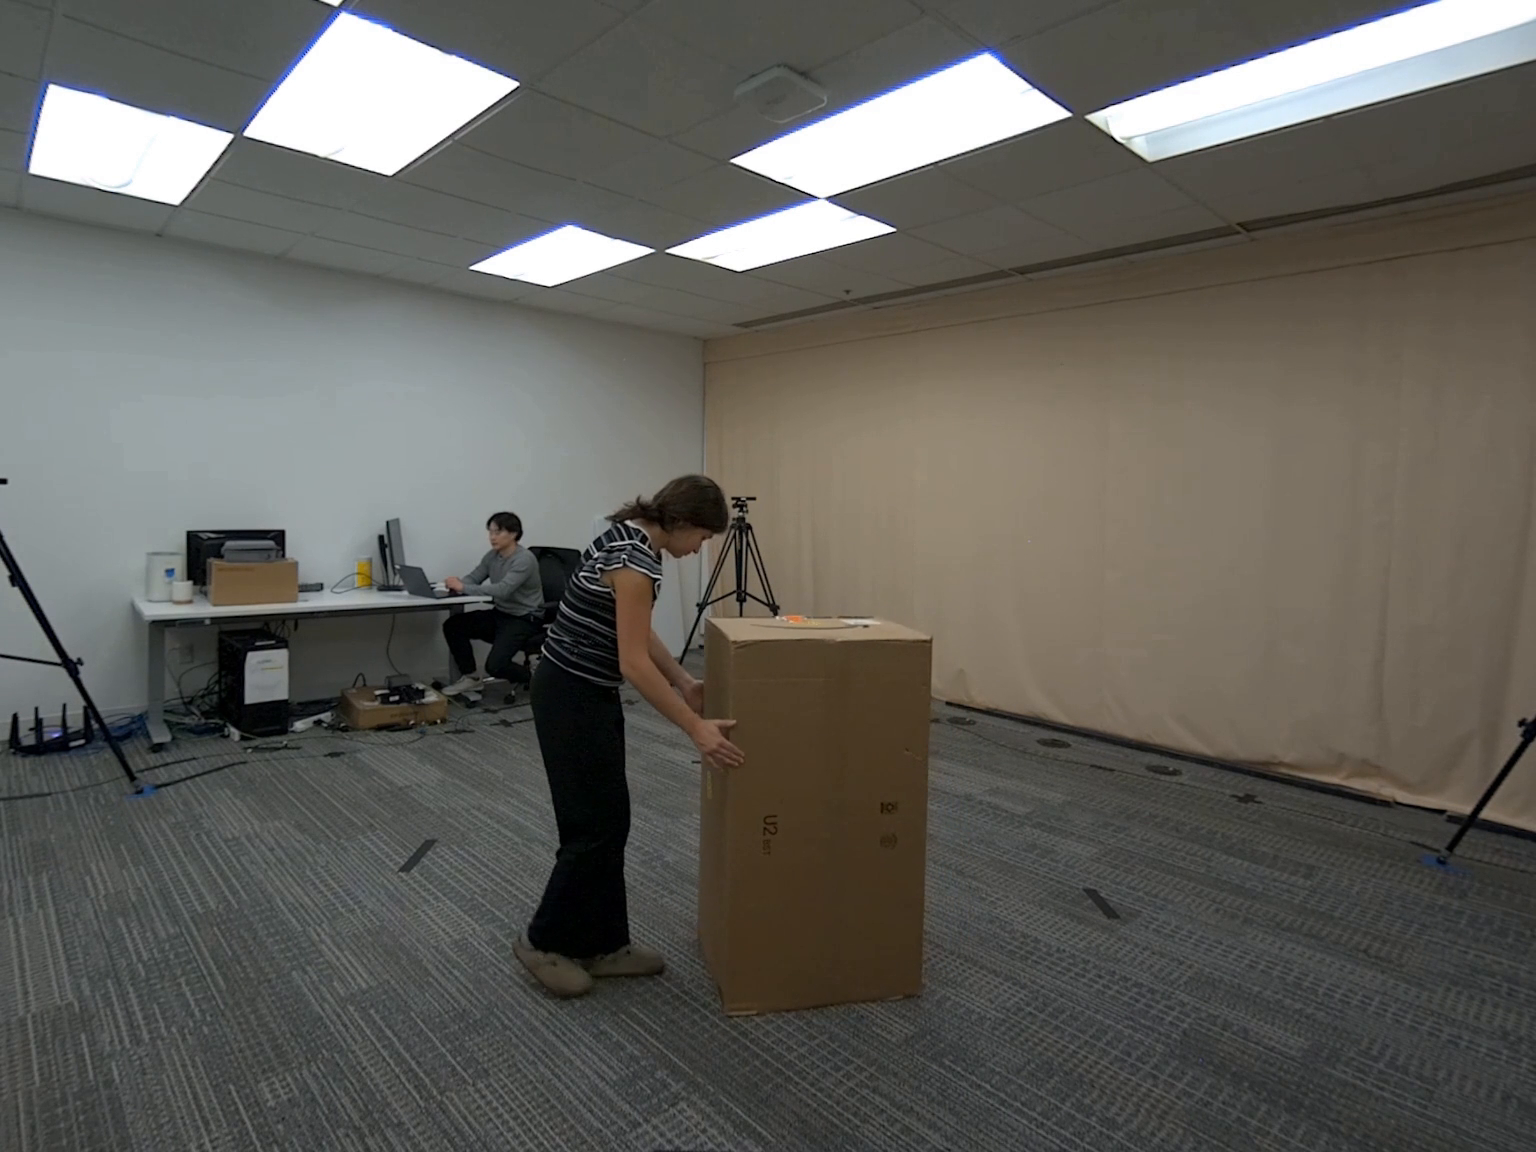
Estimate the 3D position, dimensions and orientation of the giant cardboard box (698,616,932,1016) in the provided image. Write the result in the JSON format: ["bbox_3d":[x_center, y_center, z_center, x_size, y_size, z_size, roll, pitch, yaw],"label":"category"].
[{"bbox_3d":[0.117,0.658,2.497,0.571,1.023,0.432,0,3,-14],"label":"giant cardboard box"}]
